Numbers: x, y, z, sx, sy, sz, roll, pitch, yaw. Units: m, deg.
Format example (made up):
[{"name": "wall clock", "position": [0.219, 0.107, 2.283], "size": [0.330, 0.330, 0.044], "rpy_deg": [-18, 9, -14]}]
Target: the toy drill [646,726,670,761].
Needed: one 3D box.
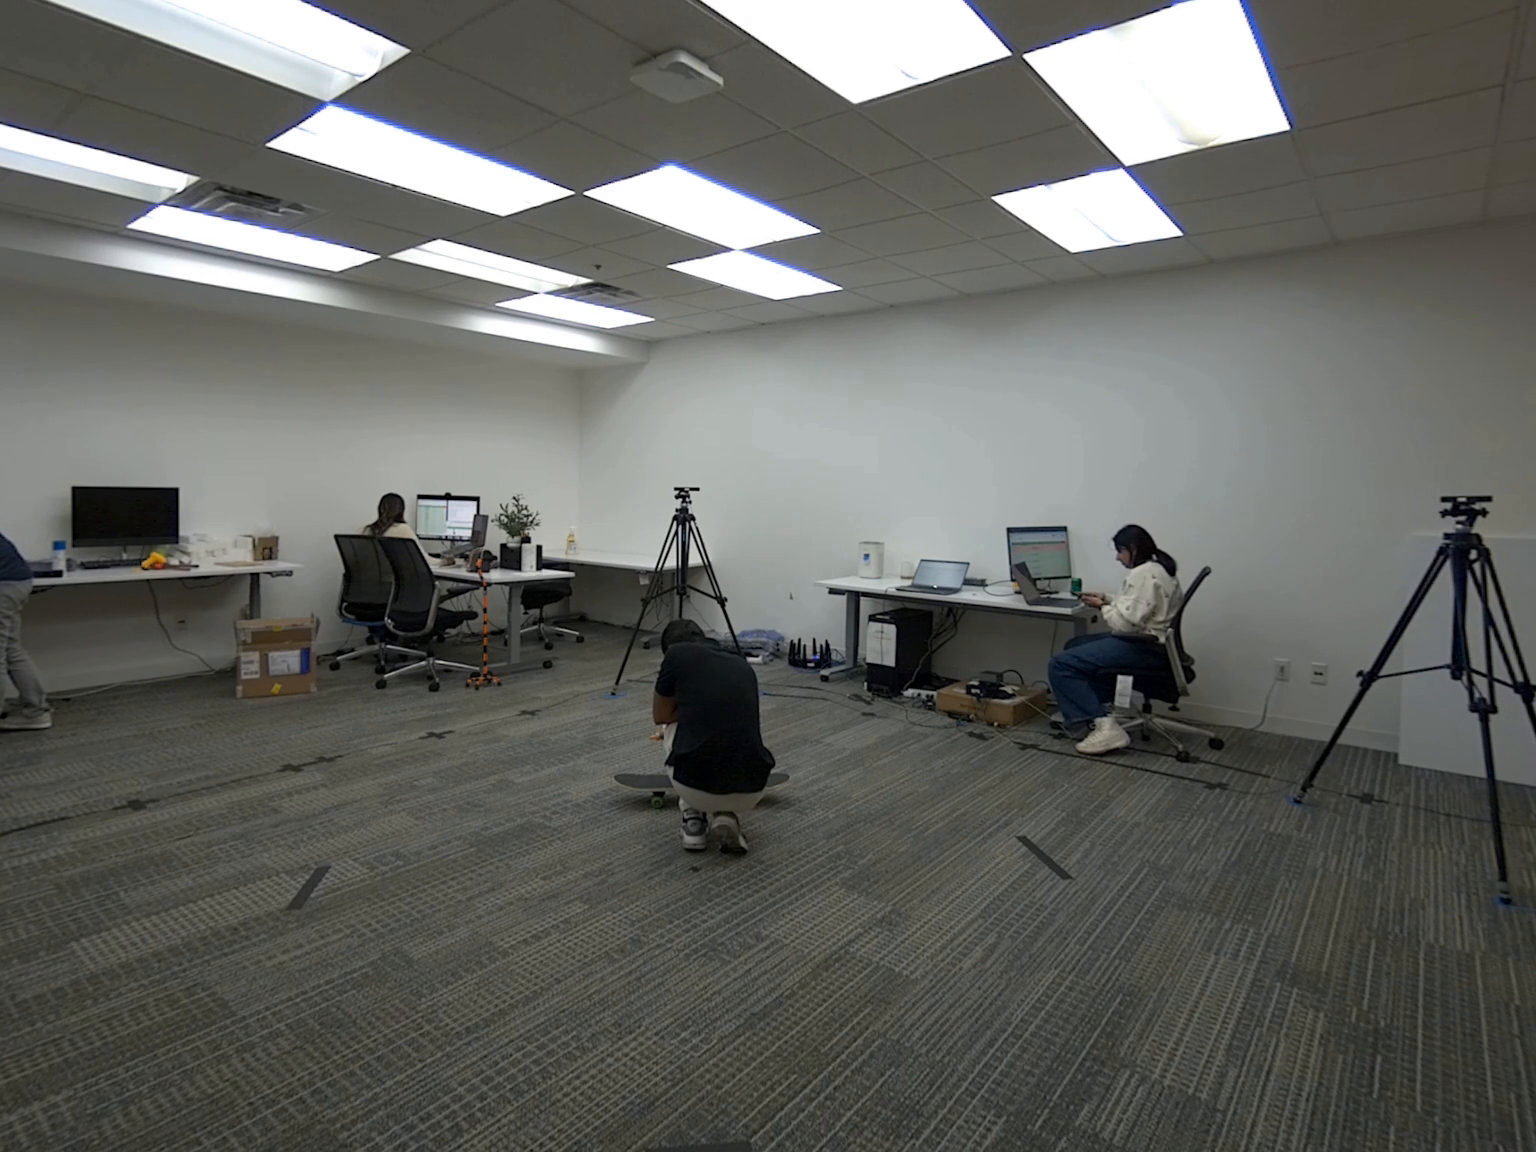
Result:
[{"name": "toy drill", "position": [-0.458, 0.749, 3.799], "size": [0.170, 0.148, 0.060], "rpy_deg": [-7, -13, 3]}]
